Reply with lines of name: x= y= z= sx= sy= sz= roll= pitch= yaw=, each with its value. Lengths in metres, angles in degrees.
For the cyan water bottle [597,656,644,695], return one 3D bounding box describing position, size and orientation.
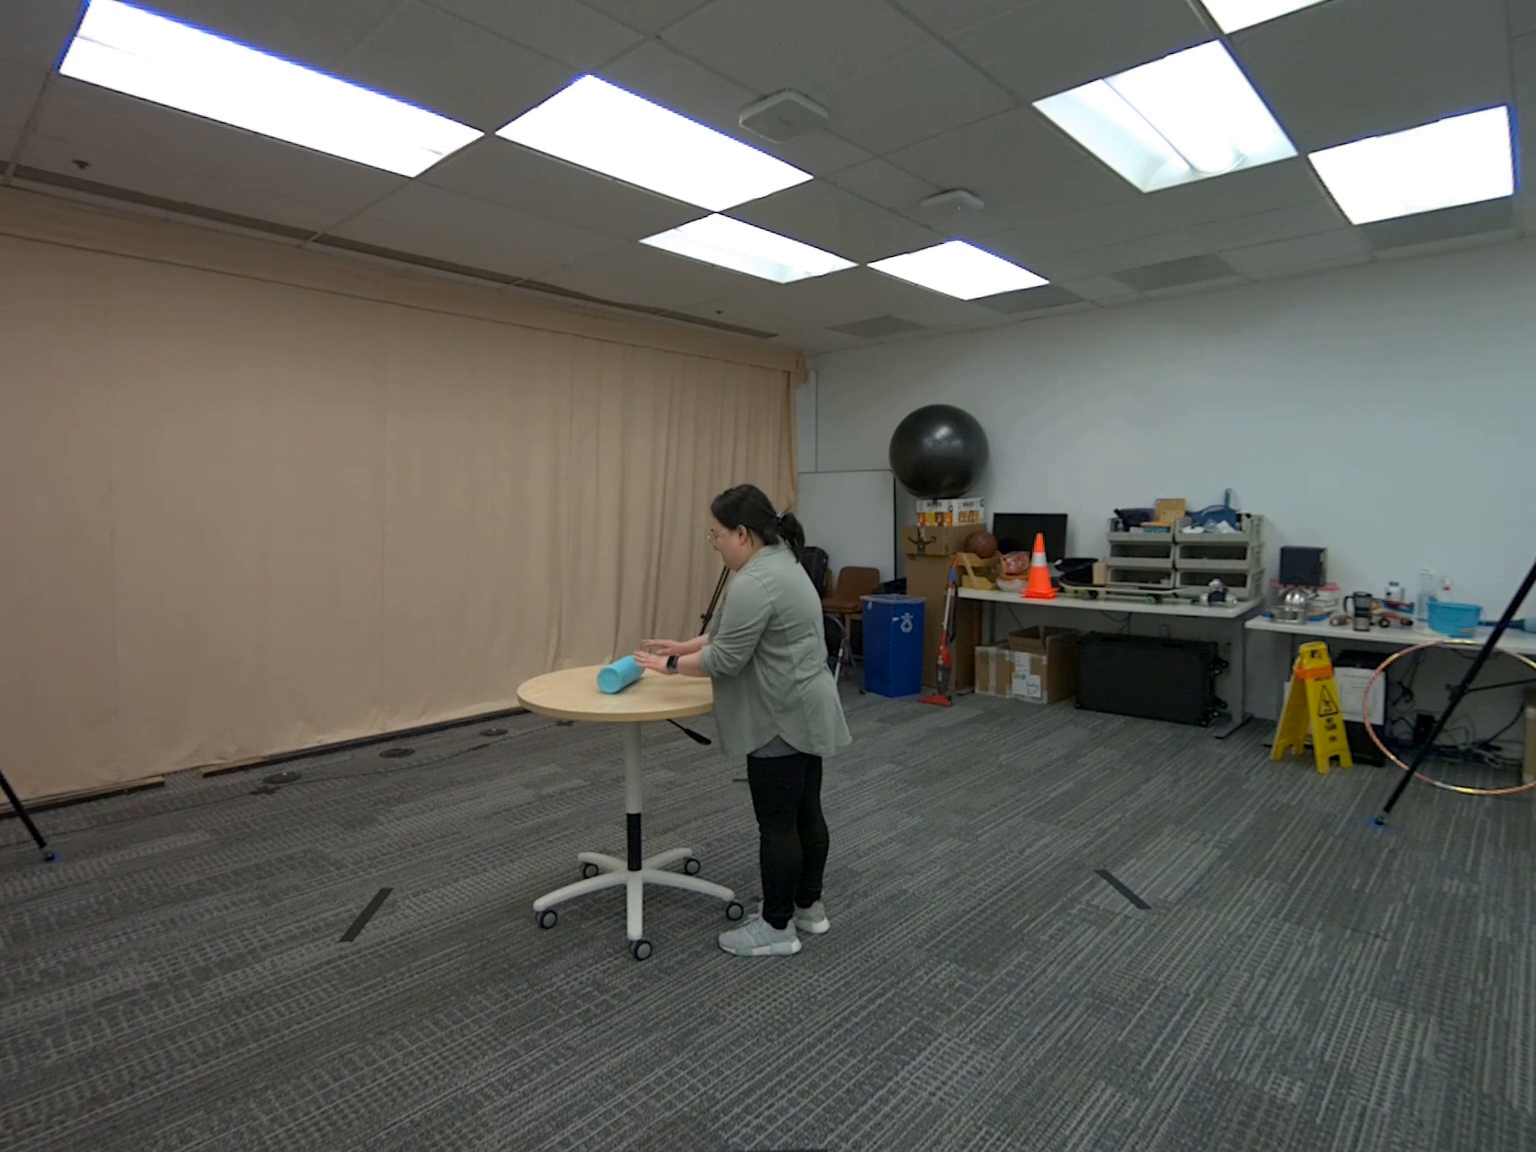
cyan water bottle: x=-0.488 y=0.330 z=2.871 sx=0.093 sy=0.092 sz=0.280 roll=1 pitch=6 yaw=11
